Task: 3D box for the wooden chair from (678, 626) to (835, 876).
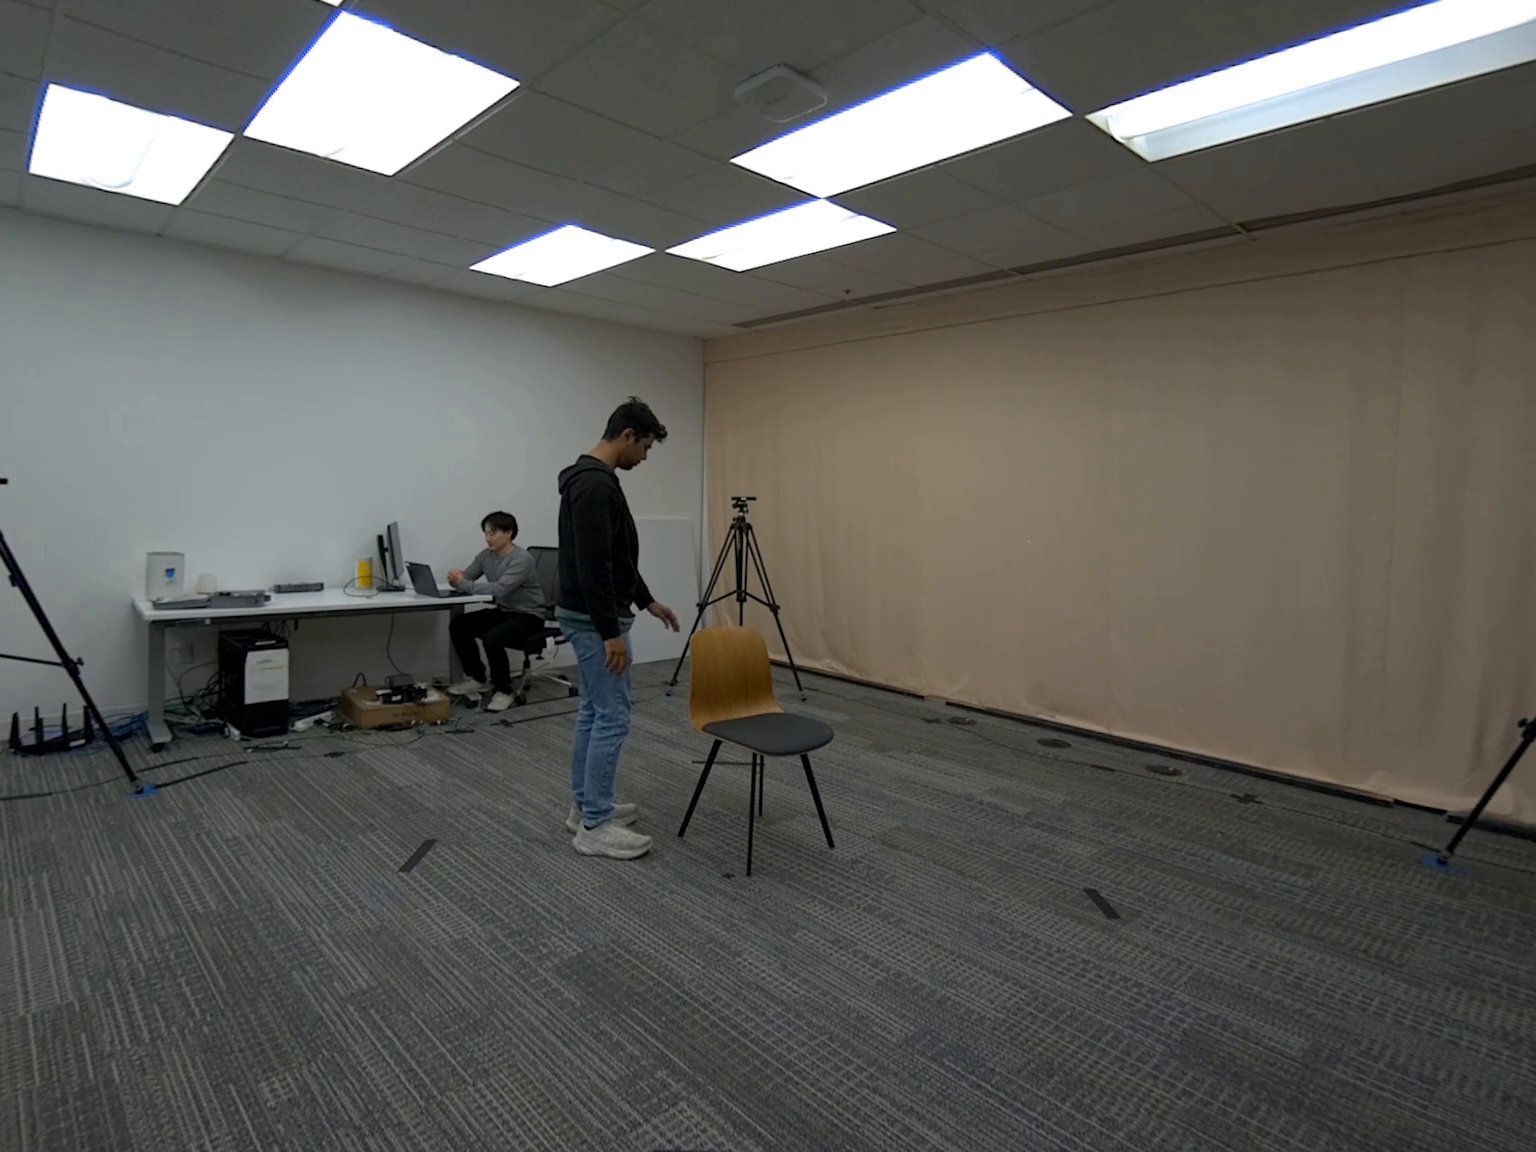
[{"bbox_3d":[-0.045,0.658,3.383,0.467,0.878,0.535,-1,-1,-40],"label":"wooden chair"}]
